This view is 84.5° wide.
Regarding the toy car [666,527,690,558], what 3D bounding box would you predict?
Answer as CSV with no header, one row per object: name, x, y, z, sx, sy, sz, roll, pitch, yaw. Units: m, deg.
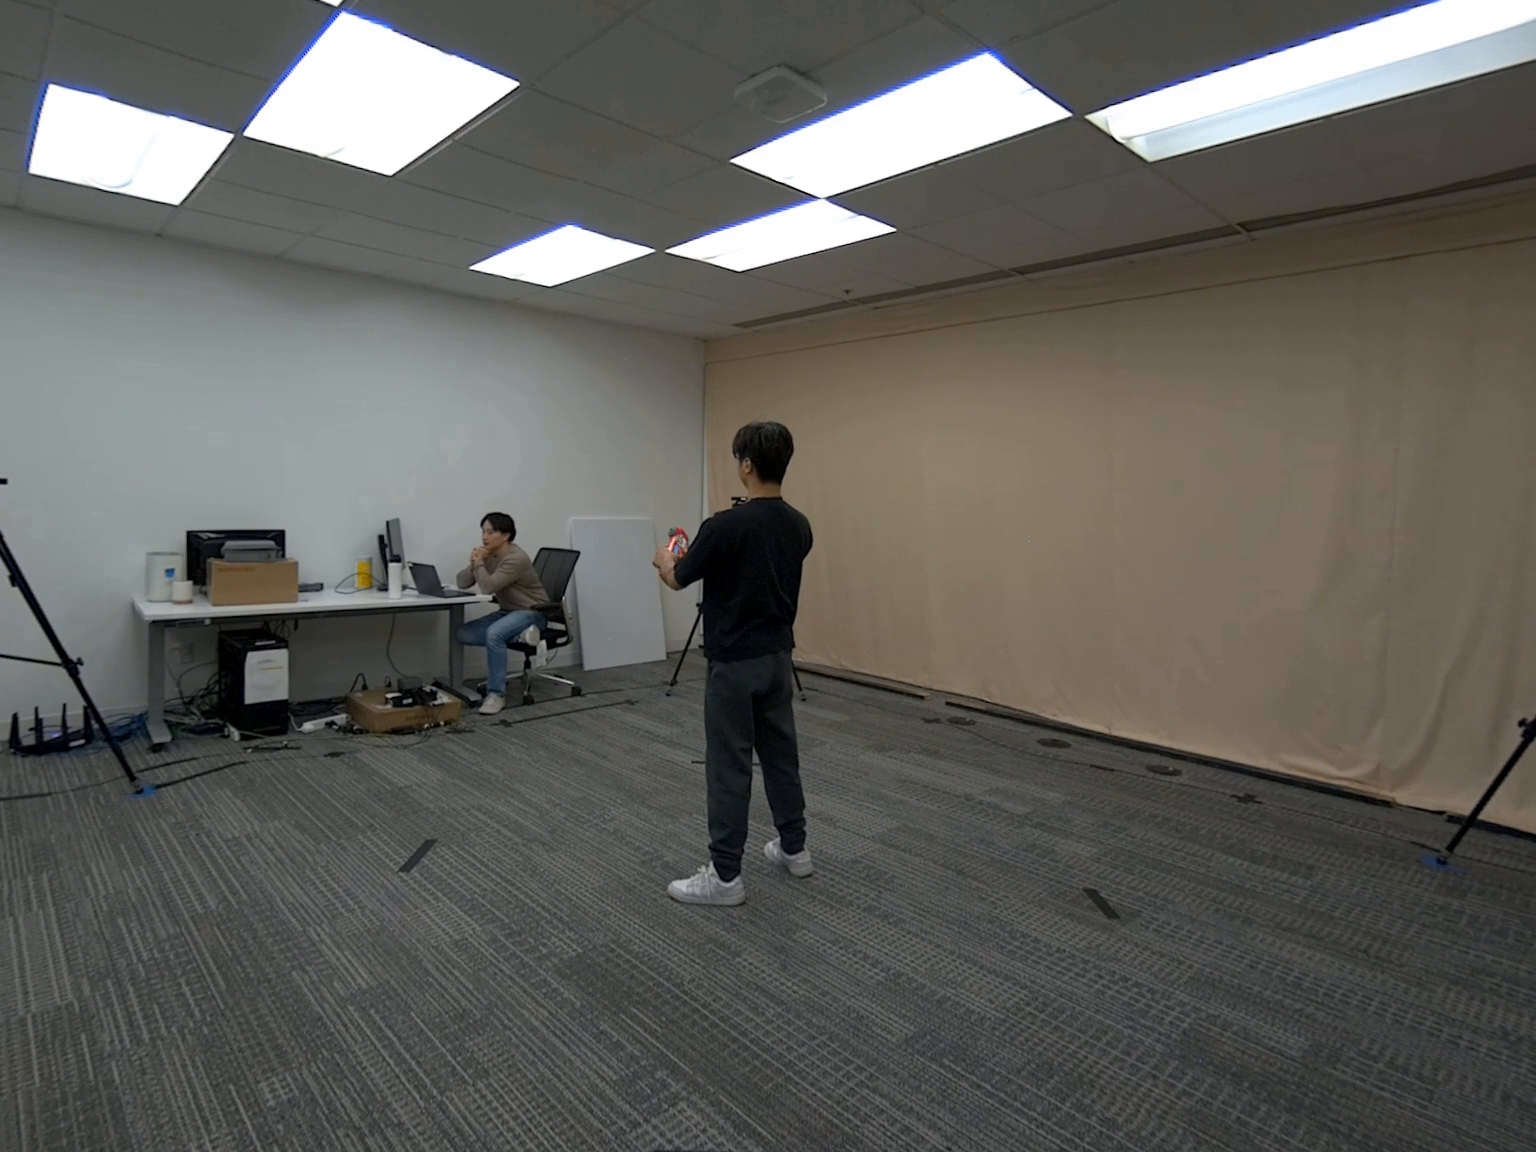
toy car,-0.377,-0.063,3.319,0.084,0.260,0.126,-11,-42,16
